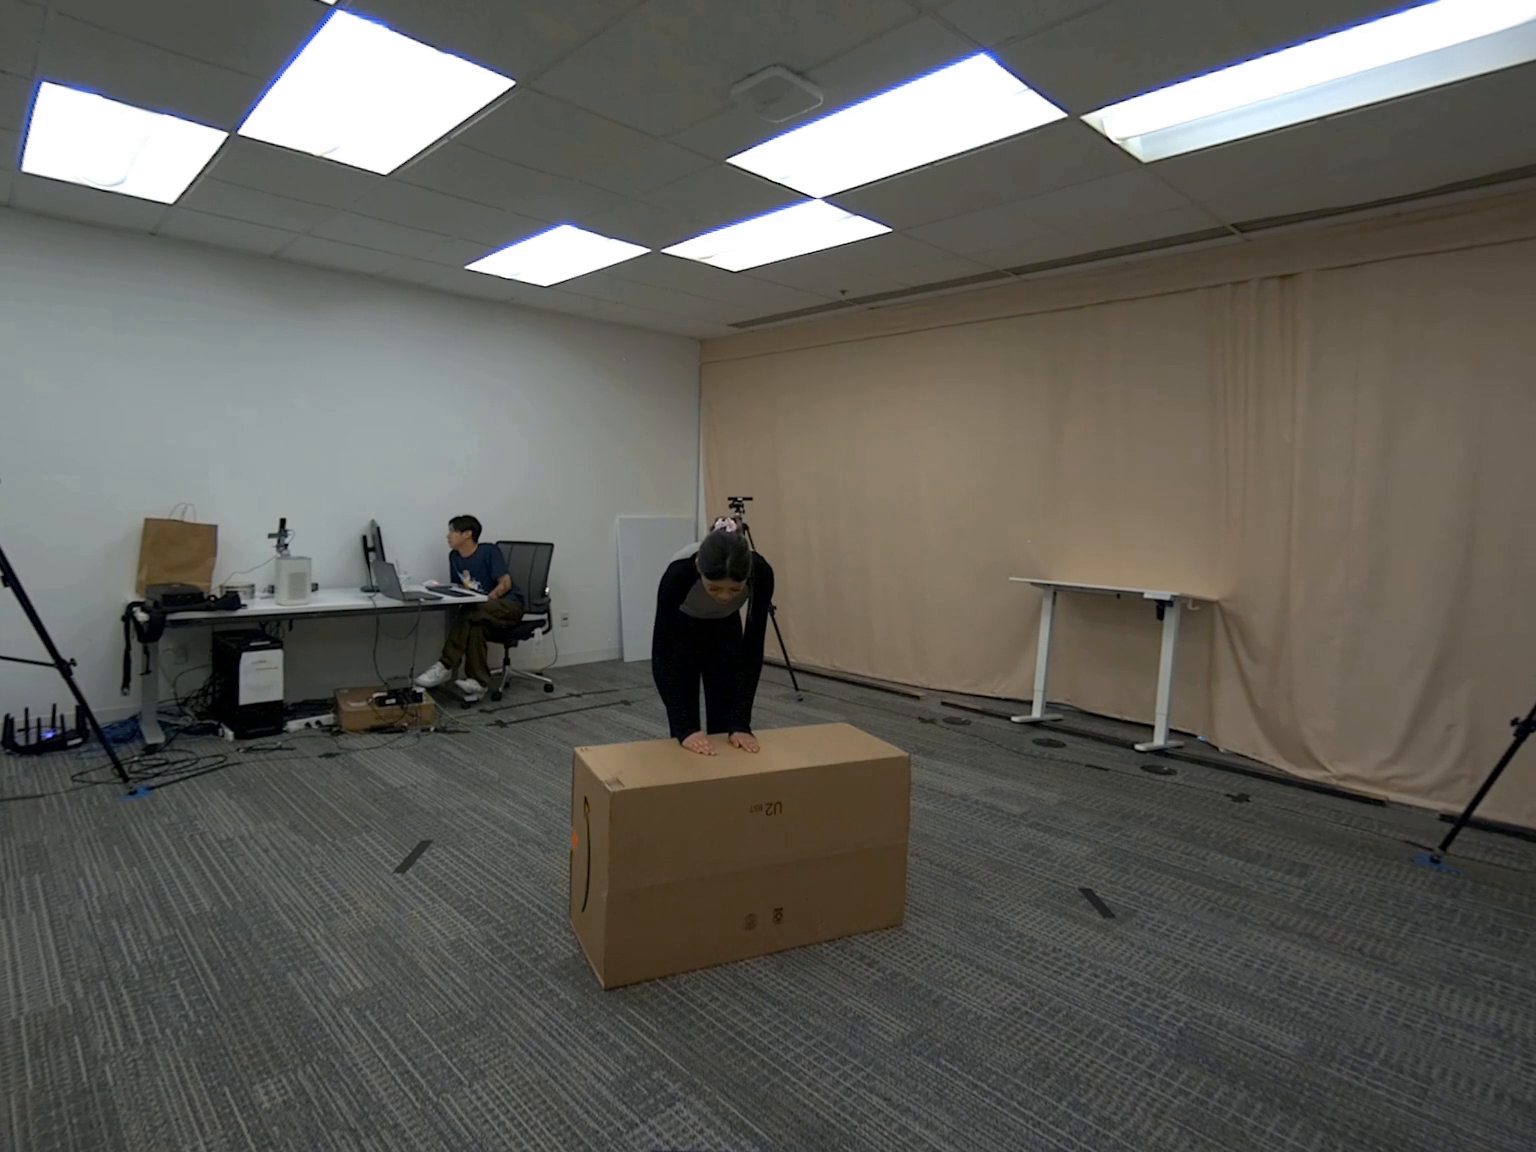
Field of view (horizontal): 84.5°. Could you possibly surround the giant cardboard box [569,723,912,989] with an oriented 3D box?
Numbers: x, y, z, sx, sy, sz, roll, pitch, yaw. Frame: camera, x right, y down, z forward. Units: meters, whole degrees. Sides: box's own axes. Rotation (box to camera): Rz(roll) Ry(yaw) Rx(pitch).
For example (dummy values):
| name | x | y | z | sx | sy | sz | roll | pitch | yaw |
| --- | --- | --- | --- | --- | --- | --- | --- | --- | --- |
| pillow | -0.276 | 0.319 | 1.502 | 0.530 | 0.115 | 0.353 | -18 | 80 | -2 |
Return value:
| name | x | y | z | sx | sy | sz | roll | pitch | yaw |
| --- | --- | --- | --- | --- | --- | --- | --- | --- | --- |
| giant cardboard box | -0.092 | 0.853 | 2.741 | 1.008 | 0.576 | 0.435 | 0 | 4 | -24 |
